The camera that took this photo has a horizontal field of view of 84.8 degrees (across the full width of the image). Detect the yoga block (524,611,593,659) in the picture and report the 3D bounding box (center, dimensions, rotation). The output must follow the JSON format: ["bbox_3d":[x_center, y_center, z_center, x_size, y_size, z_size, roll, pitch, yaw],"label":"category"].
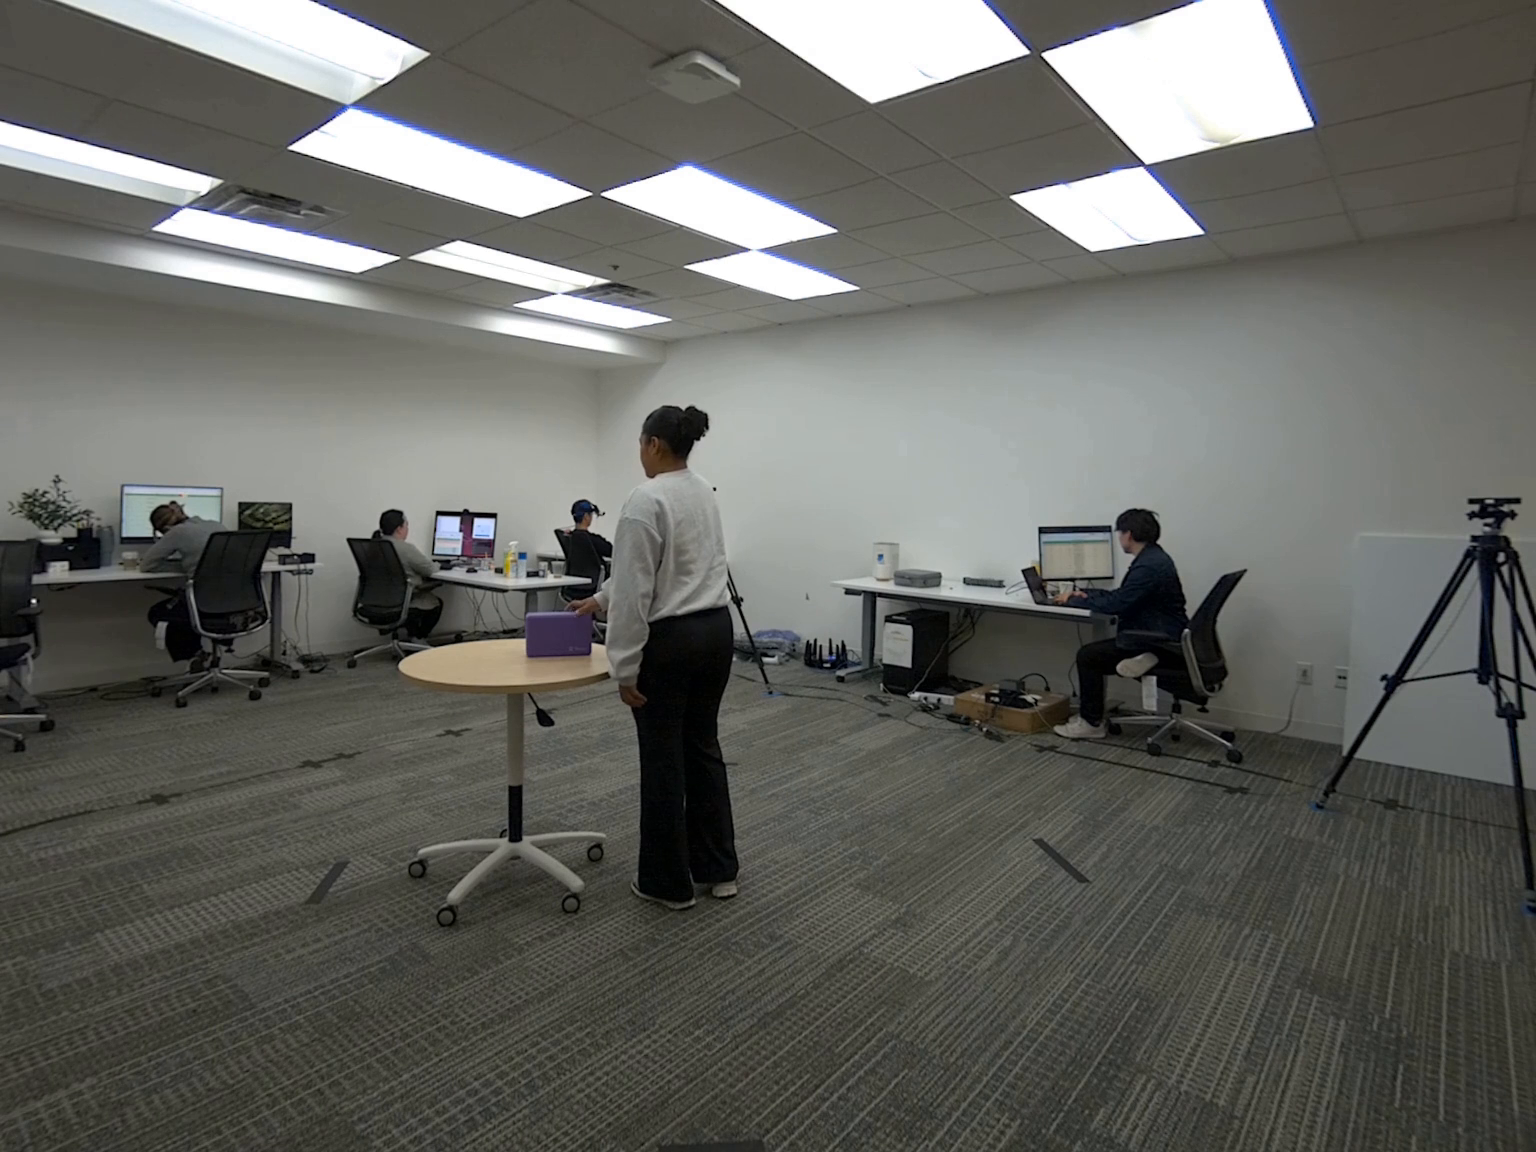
[{"bbox_3d":[-0.763,0.205,3.047,0.226,0.149,0.077,0,2,-11],"label":"yoga block"}]
